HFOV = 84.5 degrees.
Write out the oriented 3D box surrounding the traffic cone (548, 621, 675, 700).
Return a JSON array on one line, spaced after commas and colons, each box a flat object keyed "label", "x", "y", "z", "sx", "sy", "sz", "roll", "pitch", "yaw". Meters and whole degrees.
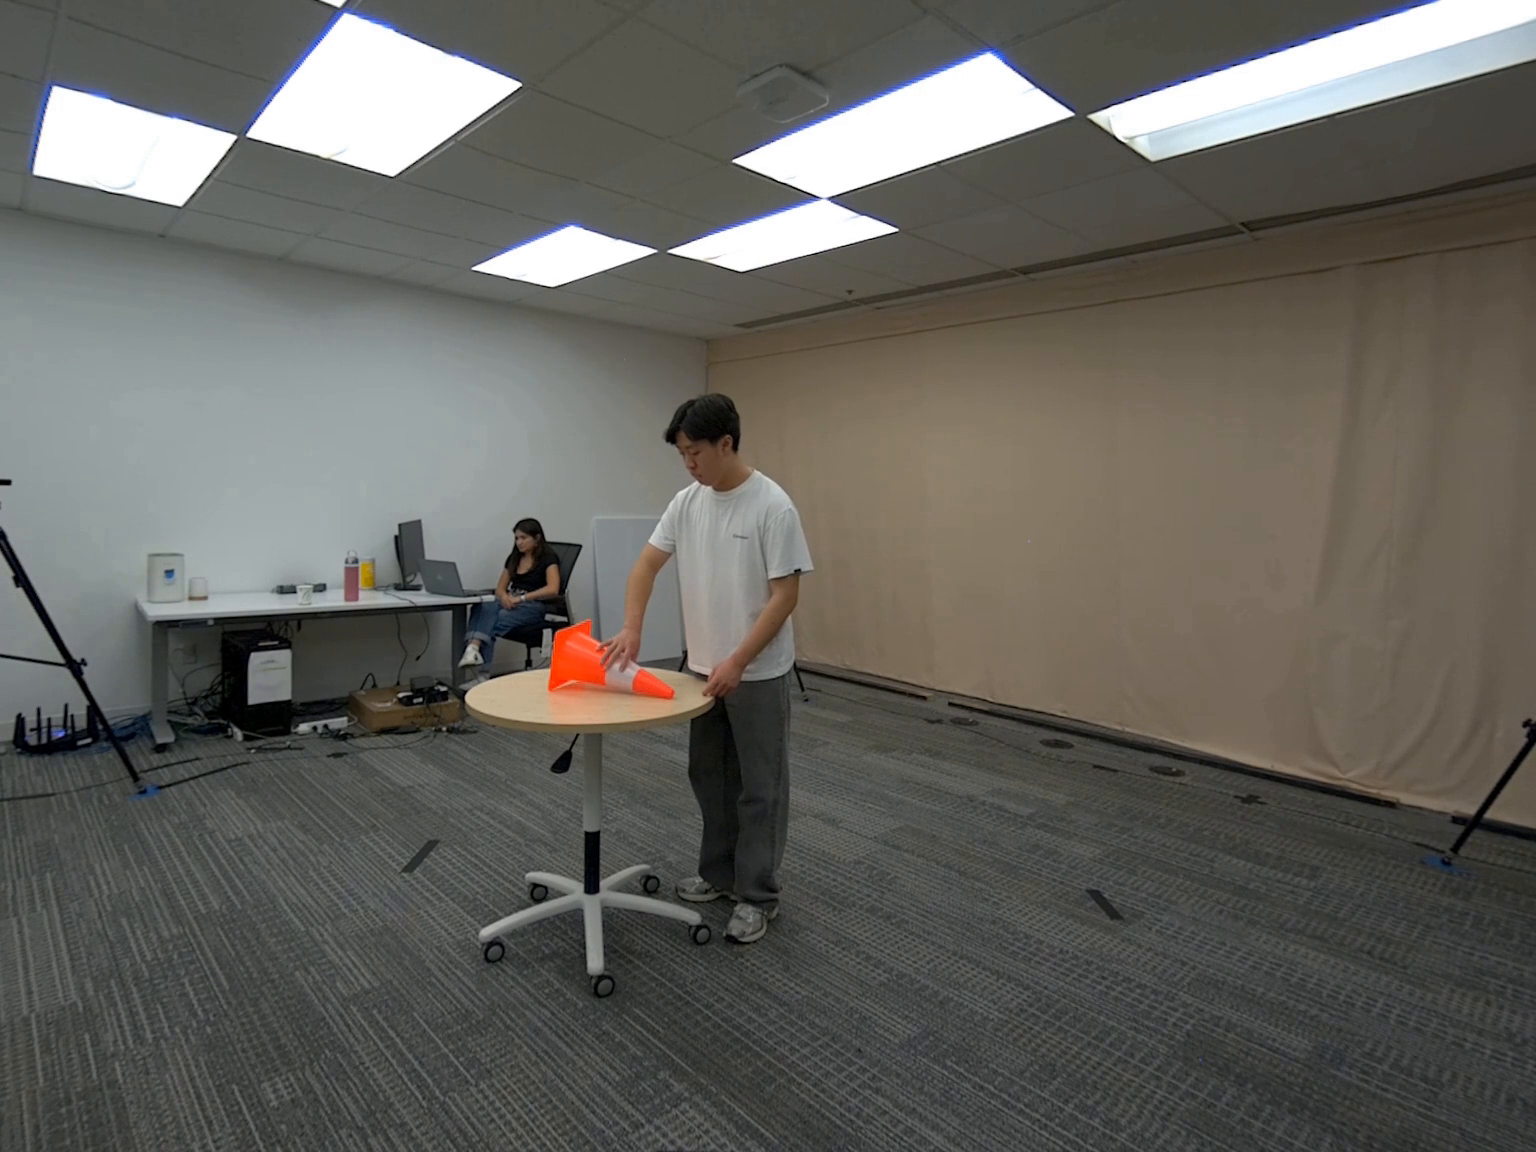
[{"label": "traffic cone", "x": -0.465, "y": 0.302, "z": 2.596, "sx": 0.391, "sy": 0.202, "sz": 0.202, "roll": 16, "pitch": 13, "yaw": 22}]
